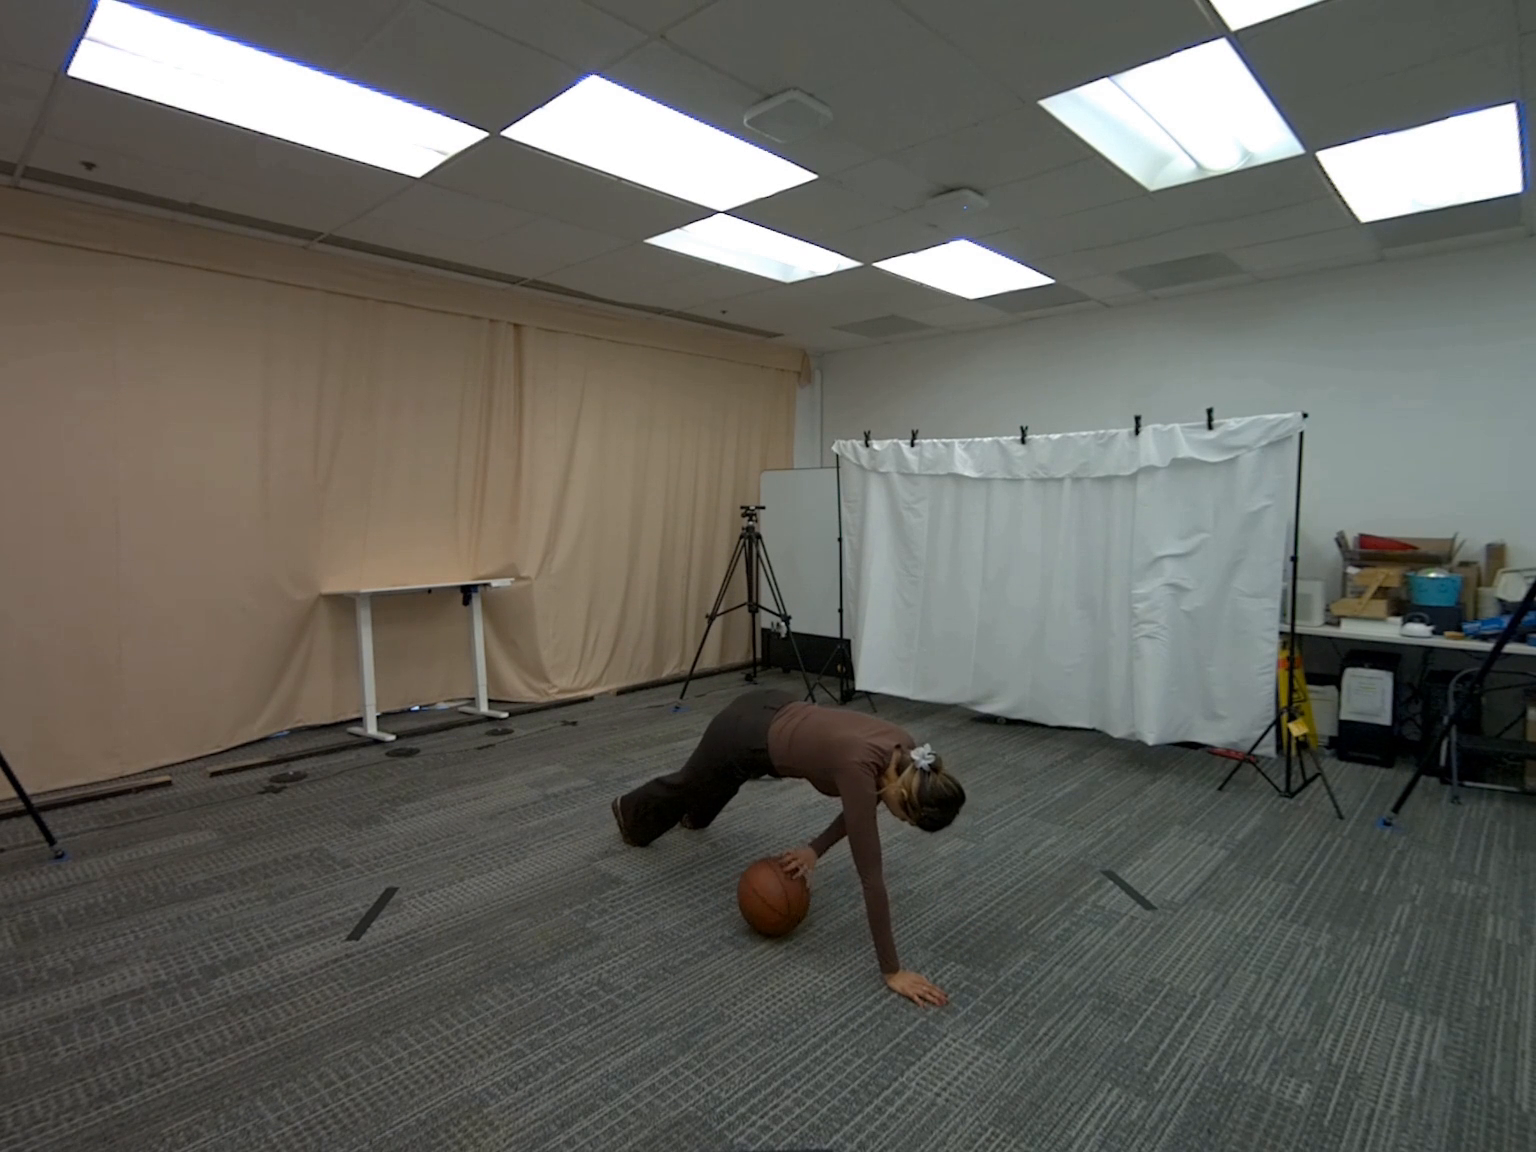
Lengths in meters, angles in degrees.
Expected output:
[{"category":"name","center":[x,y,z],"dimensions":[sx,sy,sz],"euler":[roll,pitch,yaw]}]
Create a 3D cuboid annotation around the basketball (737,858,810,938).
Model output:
[{"category":"basketball","center":[0.035,1.042,2.757],"dimensions":[0.236,0.235,0.237],"euler":[0,4,-2]}]
